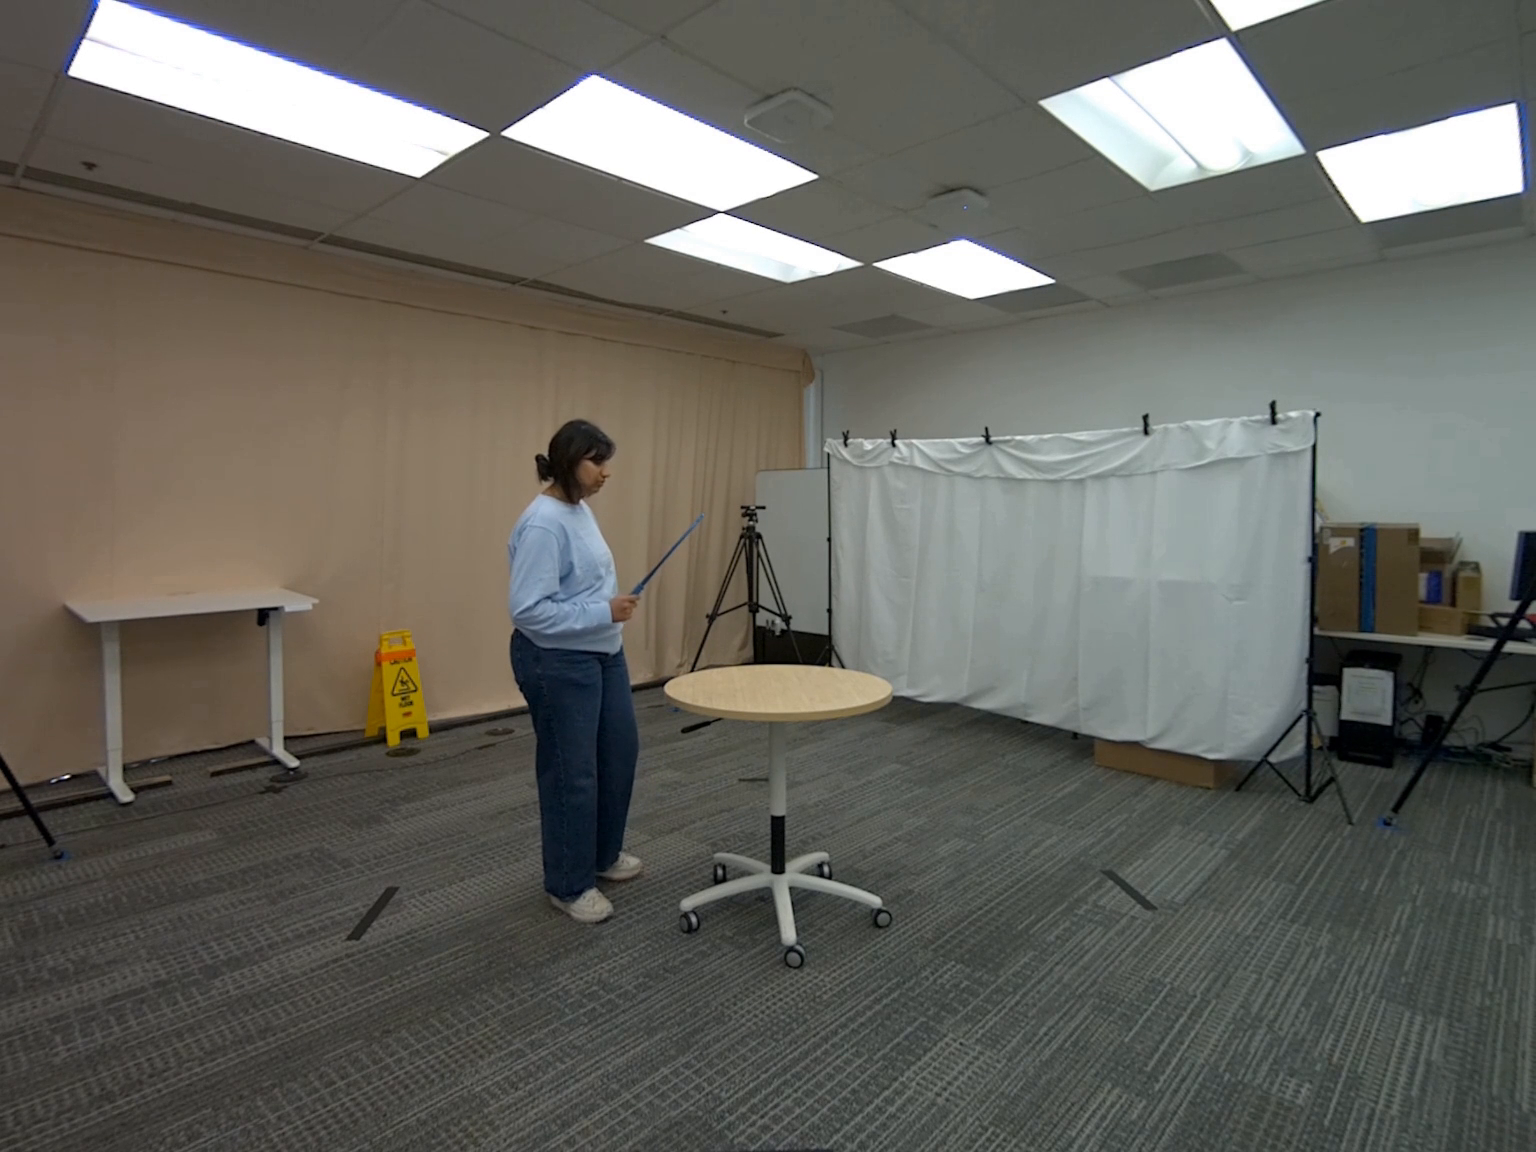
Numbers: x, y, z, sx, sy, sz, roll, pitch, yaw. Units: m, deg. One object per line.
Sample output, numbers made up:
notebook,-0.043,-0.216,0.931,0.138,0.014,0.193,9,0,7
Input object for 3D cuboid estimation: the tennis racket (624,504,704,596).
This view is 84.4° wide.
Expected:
tennis racket,-0.364,-0.045,2.735,0.031,0.433,0.214,37,8,-5
